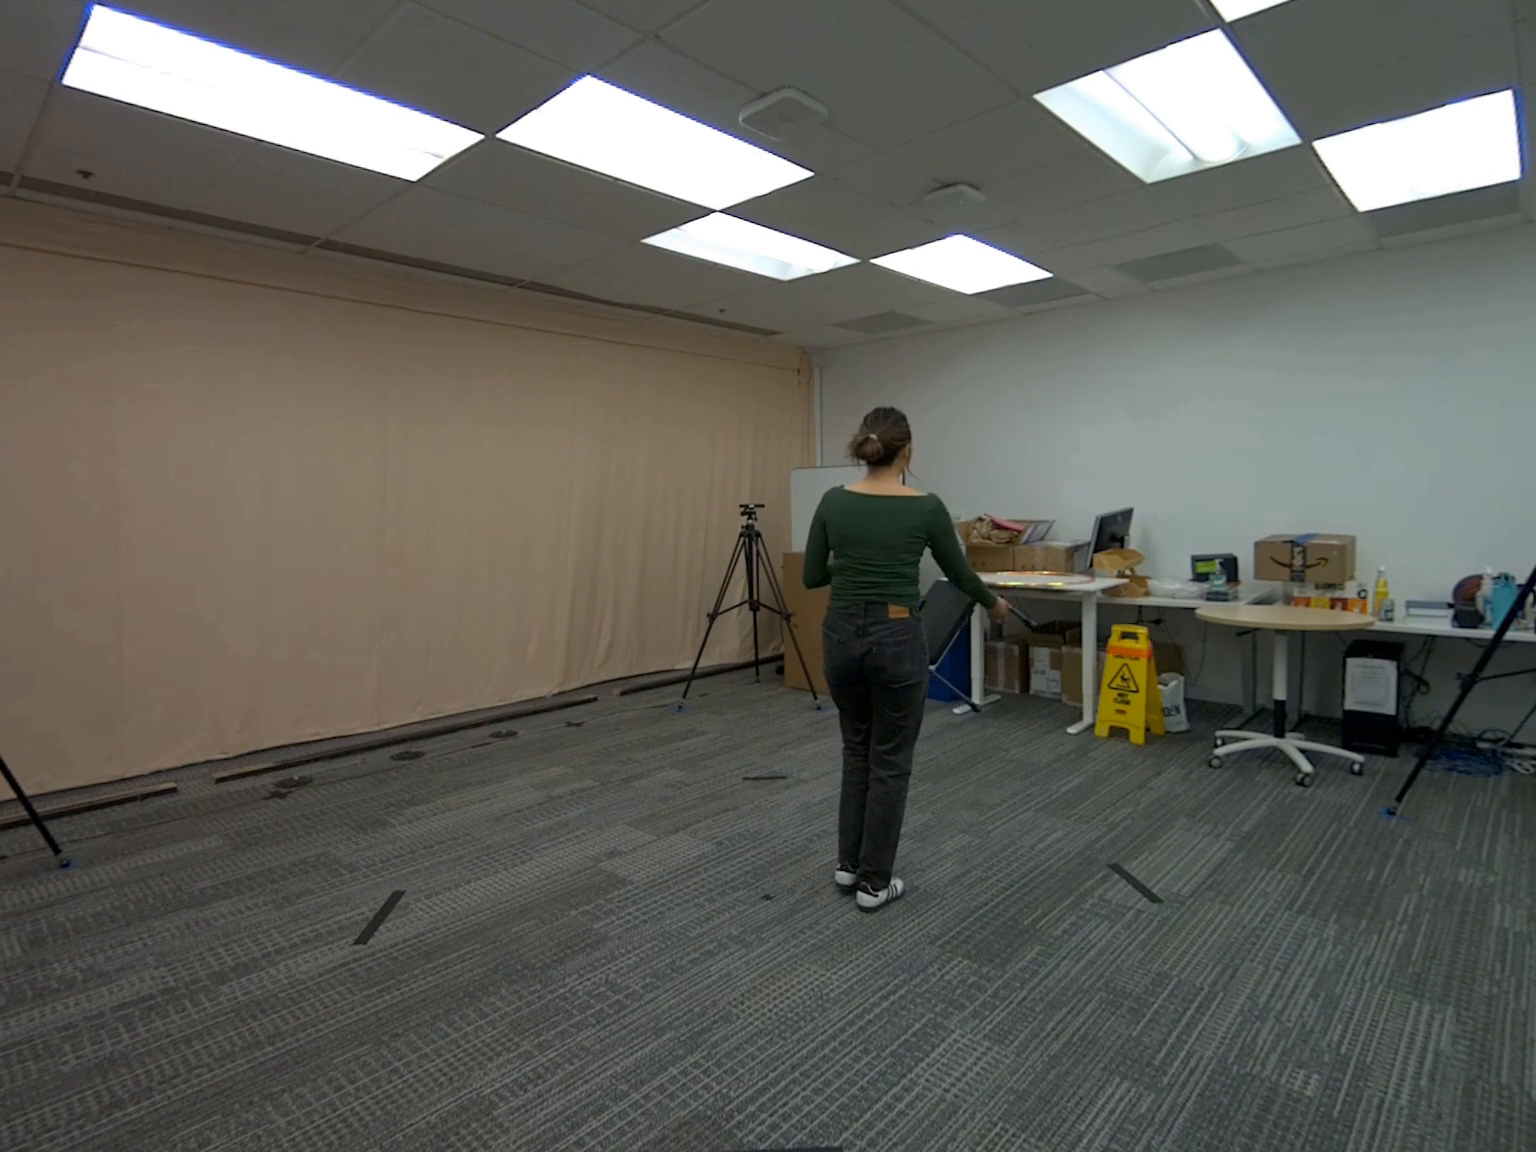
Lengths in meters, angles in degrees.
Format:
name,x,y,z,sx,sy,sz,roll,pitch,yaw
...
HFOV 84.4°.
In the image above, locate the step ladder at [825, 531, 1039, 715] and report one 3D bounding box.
name,x,y,z,sx,sy,sz,roll,pitch,yaw
step ladder,0.623,0.139,3.222,0.590,0.430,0.359,43,-15,-24
